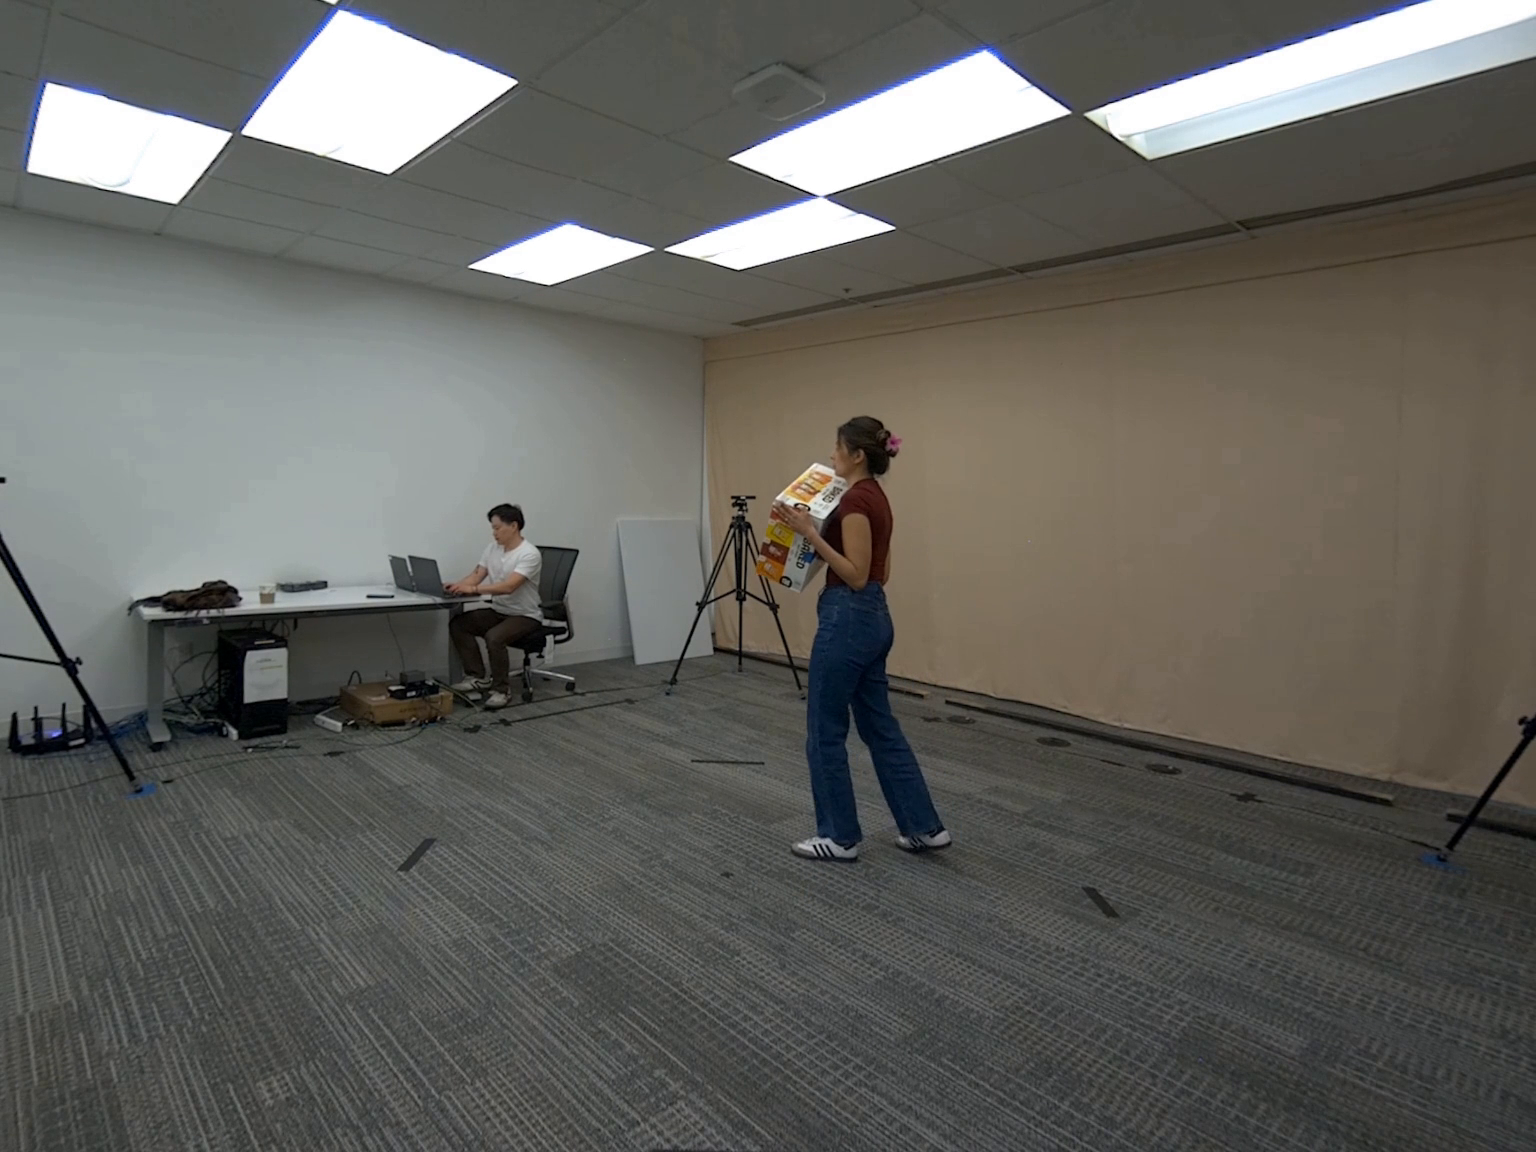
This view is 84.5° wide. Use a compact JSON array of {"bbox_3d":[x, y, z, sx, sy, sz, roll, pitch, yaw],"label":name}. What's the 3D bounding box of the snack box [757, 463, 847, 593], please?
[{"bbox_3d":[0.147,-0.200,3.328,0.209,0.335,0.404,25,35,15],"label":"snack box"}]
